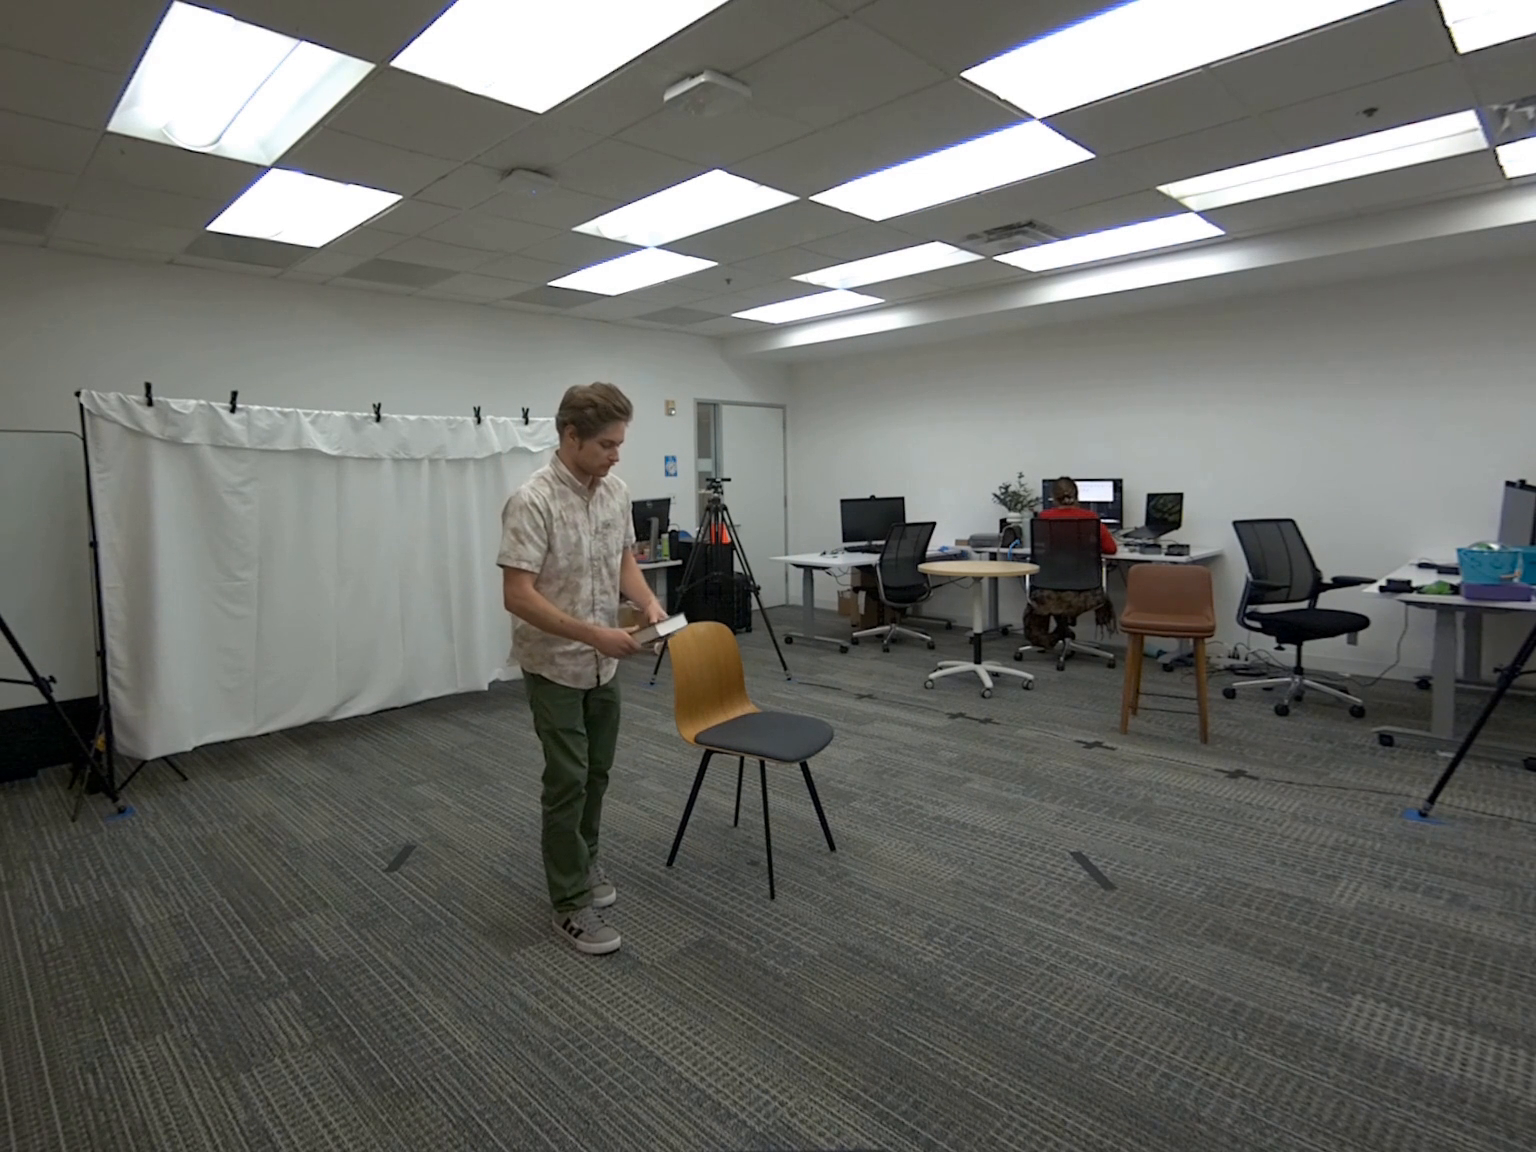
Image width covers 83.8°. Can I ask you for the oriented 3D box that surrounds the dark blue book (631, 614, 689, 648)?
[{"bbox_3d":[-0.385,0.186,2.591,0.249,0.045,0.160,-20,-1,31],"label":"dark blue book"}]
